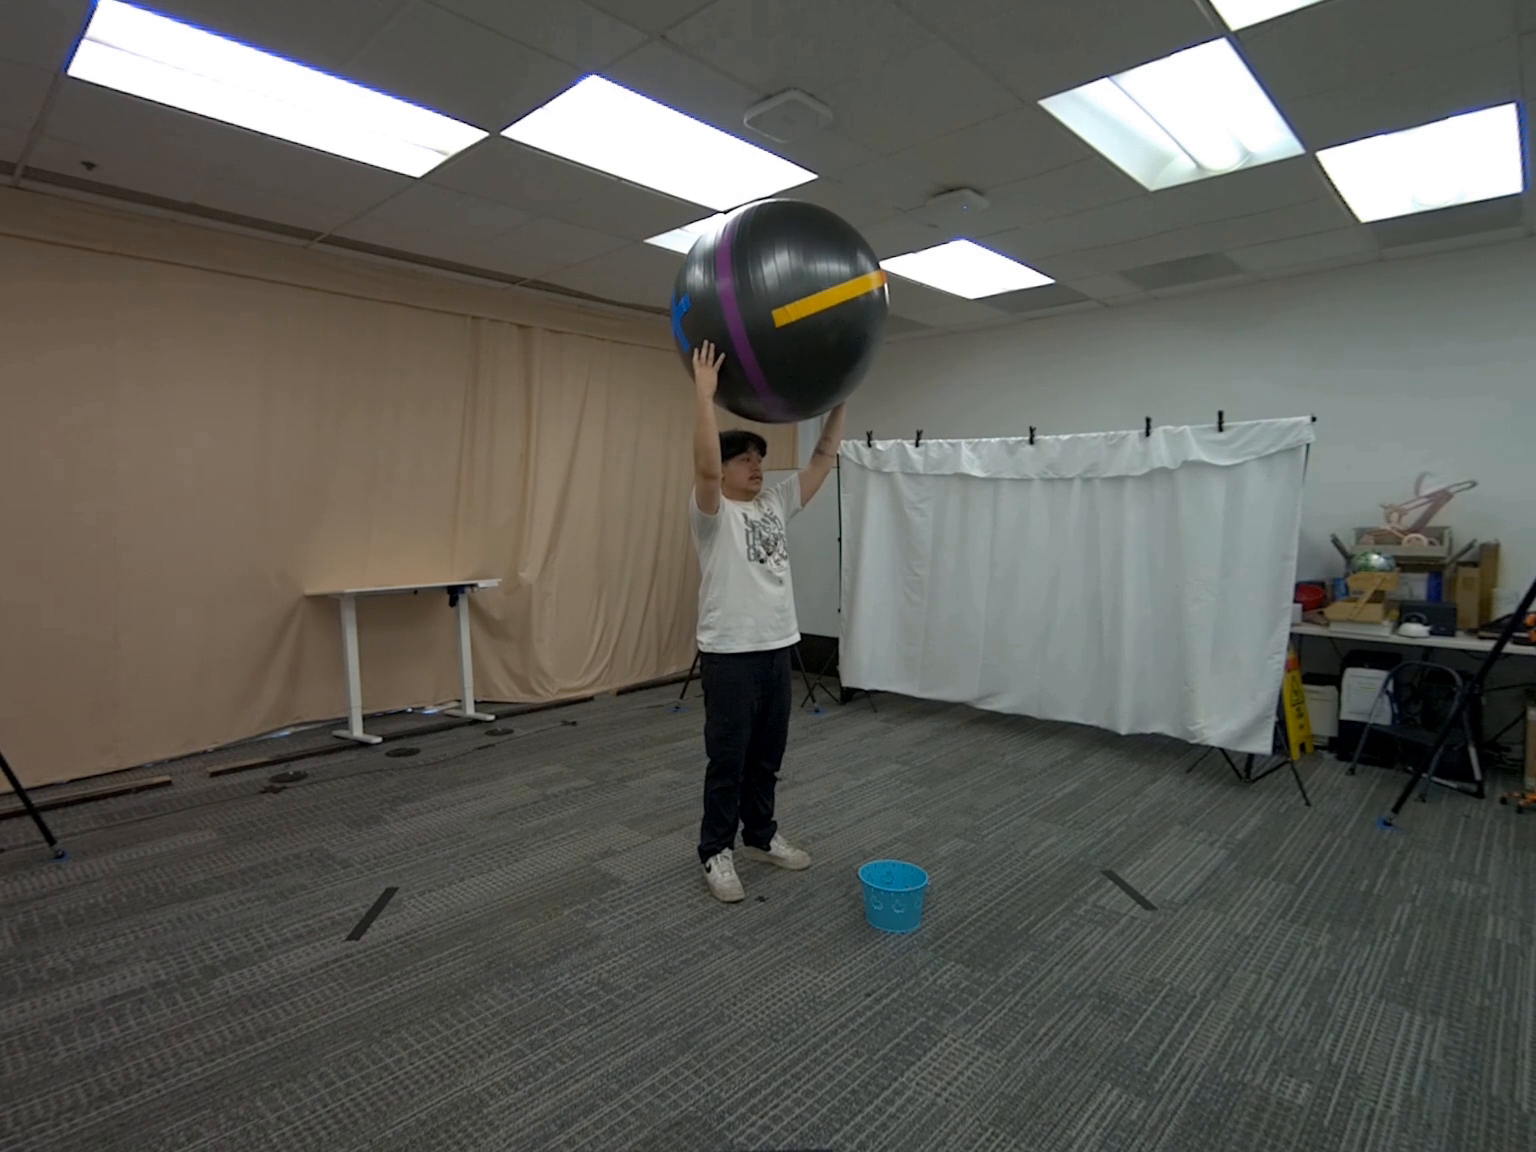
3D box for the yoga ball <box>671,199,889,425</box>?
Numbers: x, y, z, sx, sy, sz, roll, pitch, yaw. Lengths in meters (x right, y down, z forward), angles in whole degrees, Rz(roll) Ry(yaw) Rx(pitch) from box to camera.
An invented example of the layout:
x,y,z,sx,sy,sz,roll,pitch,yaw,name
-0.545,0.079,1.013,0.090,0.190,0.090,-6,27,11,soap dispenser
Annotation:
x,y,z,sx,sy,sz,roll,pitch,yaw,name
0.041,-0.916,2.955,0.757,0.756,0.760,0,4,-2,yoga ball
